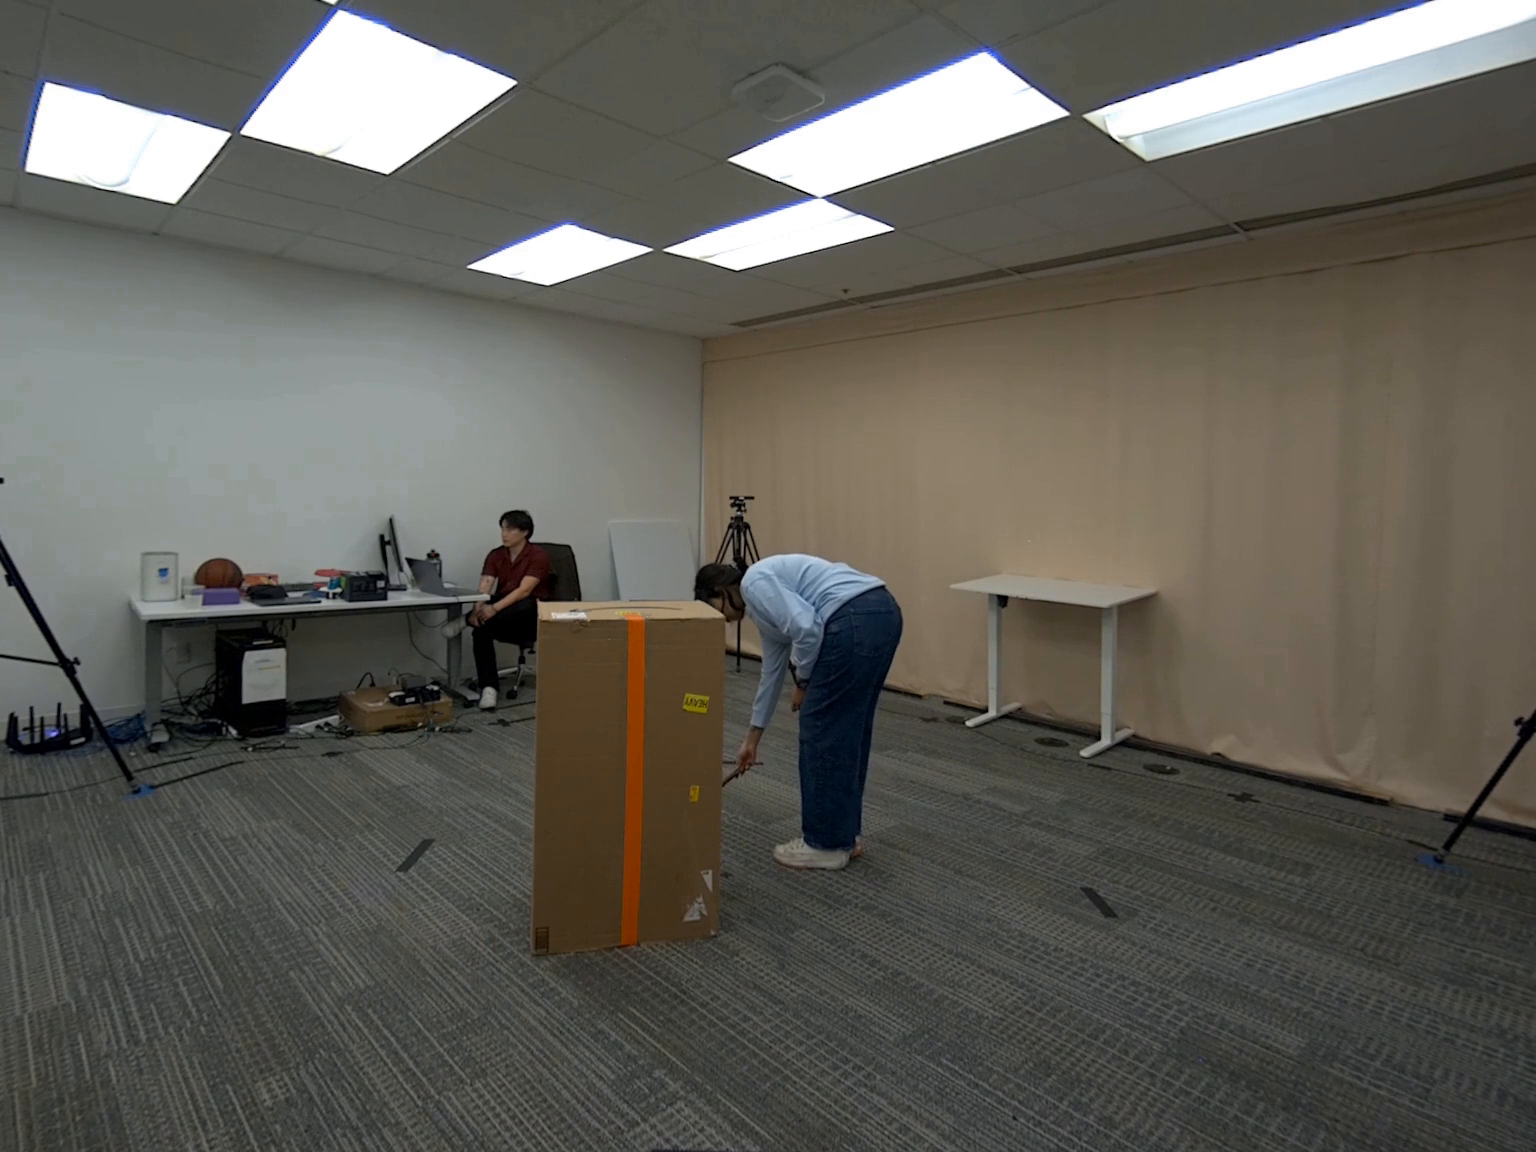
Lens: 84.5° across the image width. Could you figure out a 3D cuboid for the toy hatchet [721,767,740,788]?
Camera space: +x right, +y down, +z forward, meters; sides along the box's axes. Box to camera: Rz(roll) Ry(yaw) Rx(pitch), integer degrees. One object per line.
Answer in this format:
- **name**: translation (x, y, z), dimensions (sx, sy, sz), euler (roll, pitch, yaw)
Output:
- **toy hatchet**: translation (-0.197, 0.885, 3.480), dimensions (0.029, 0.270, 0.132), euler (37, 30, -8)
